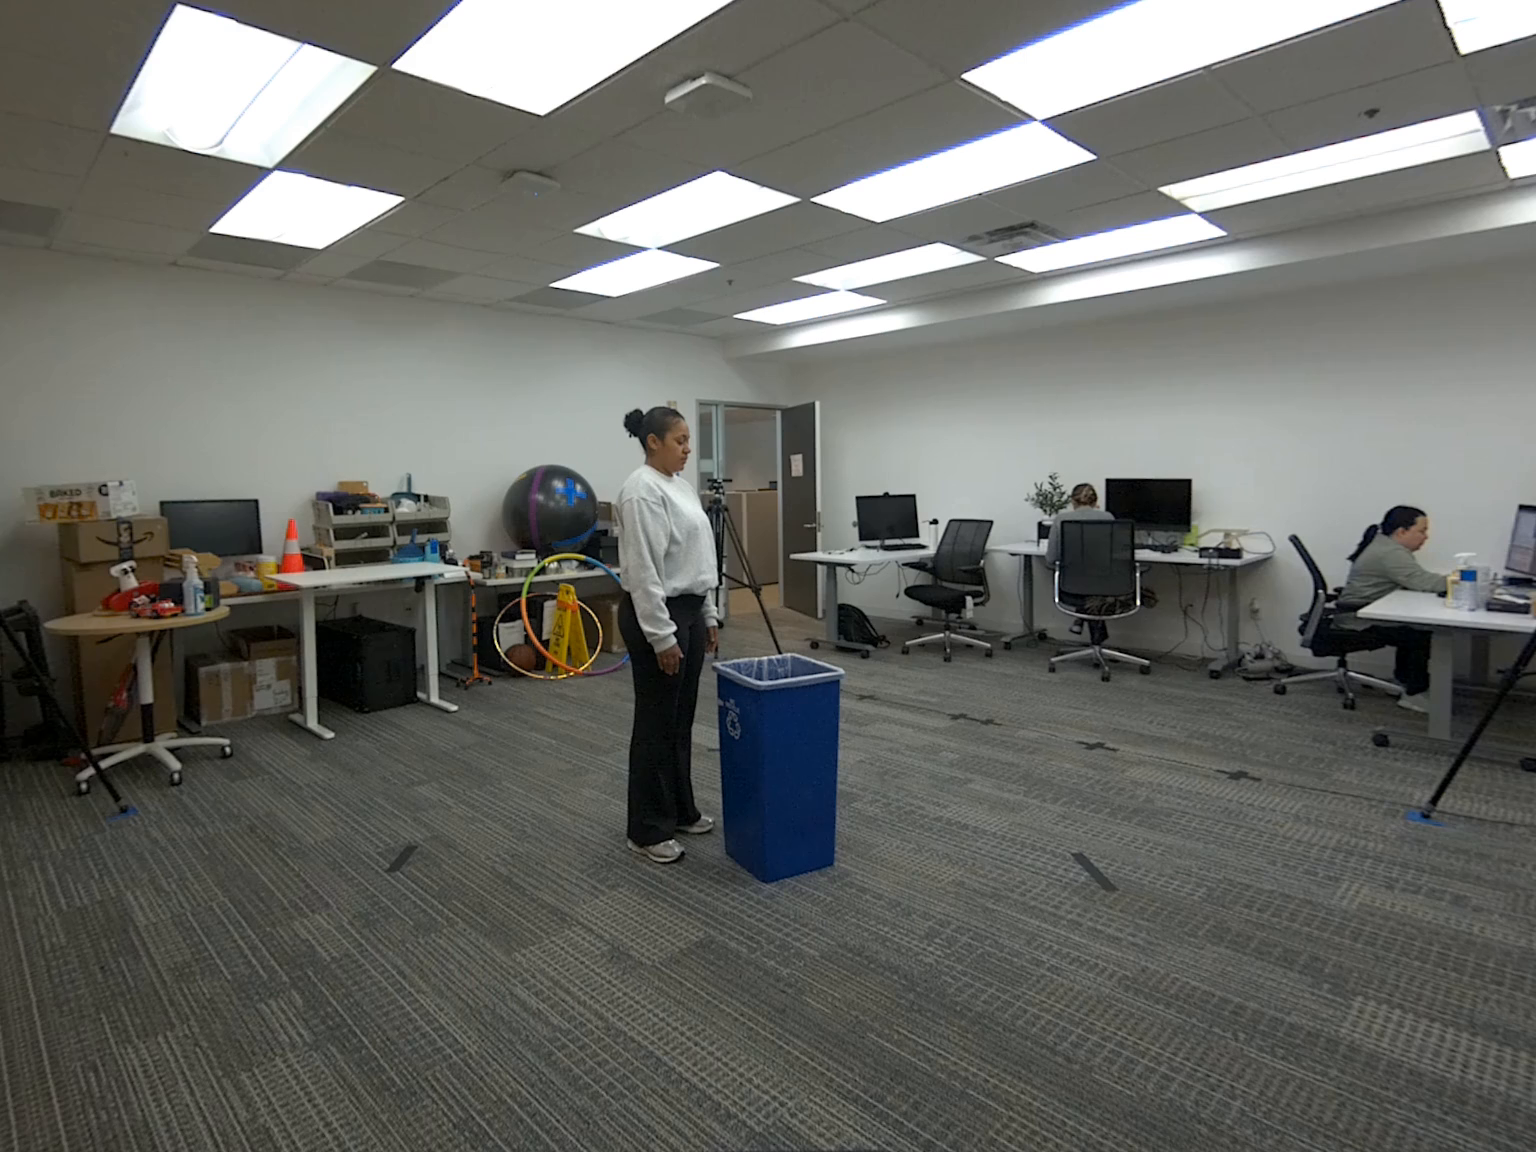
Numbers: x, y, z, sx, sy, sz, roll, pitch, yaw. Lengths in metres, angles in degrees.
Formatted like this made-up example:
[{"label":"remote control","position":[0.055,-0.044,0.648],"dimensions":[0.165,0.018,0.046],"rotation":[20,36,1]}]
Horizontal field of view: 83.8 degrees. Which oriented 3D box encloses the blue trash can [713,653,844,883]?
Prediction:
[{"label":"blue trash can","position":[0.033,0.685,3.111],"dimensions":[0.365,0.711,0.389],"rotation":[-3,5,-31]}]
